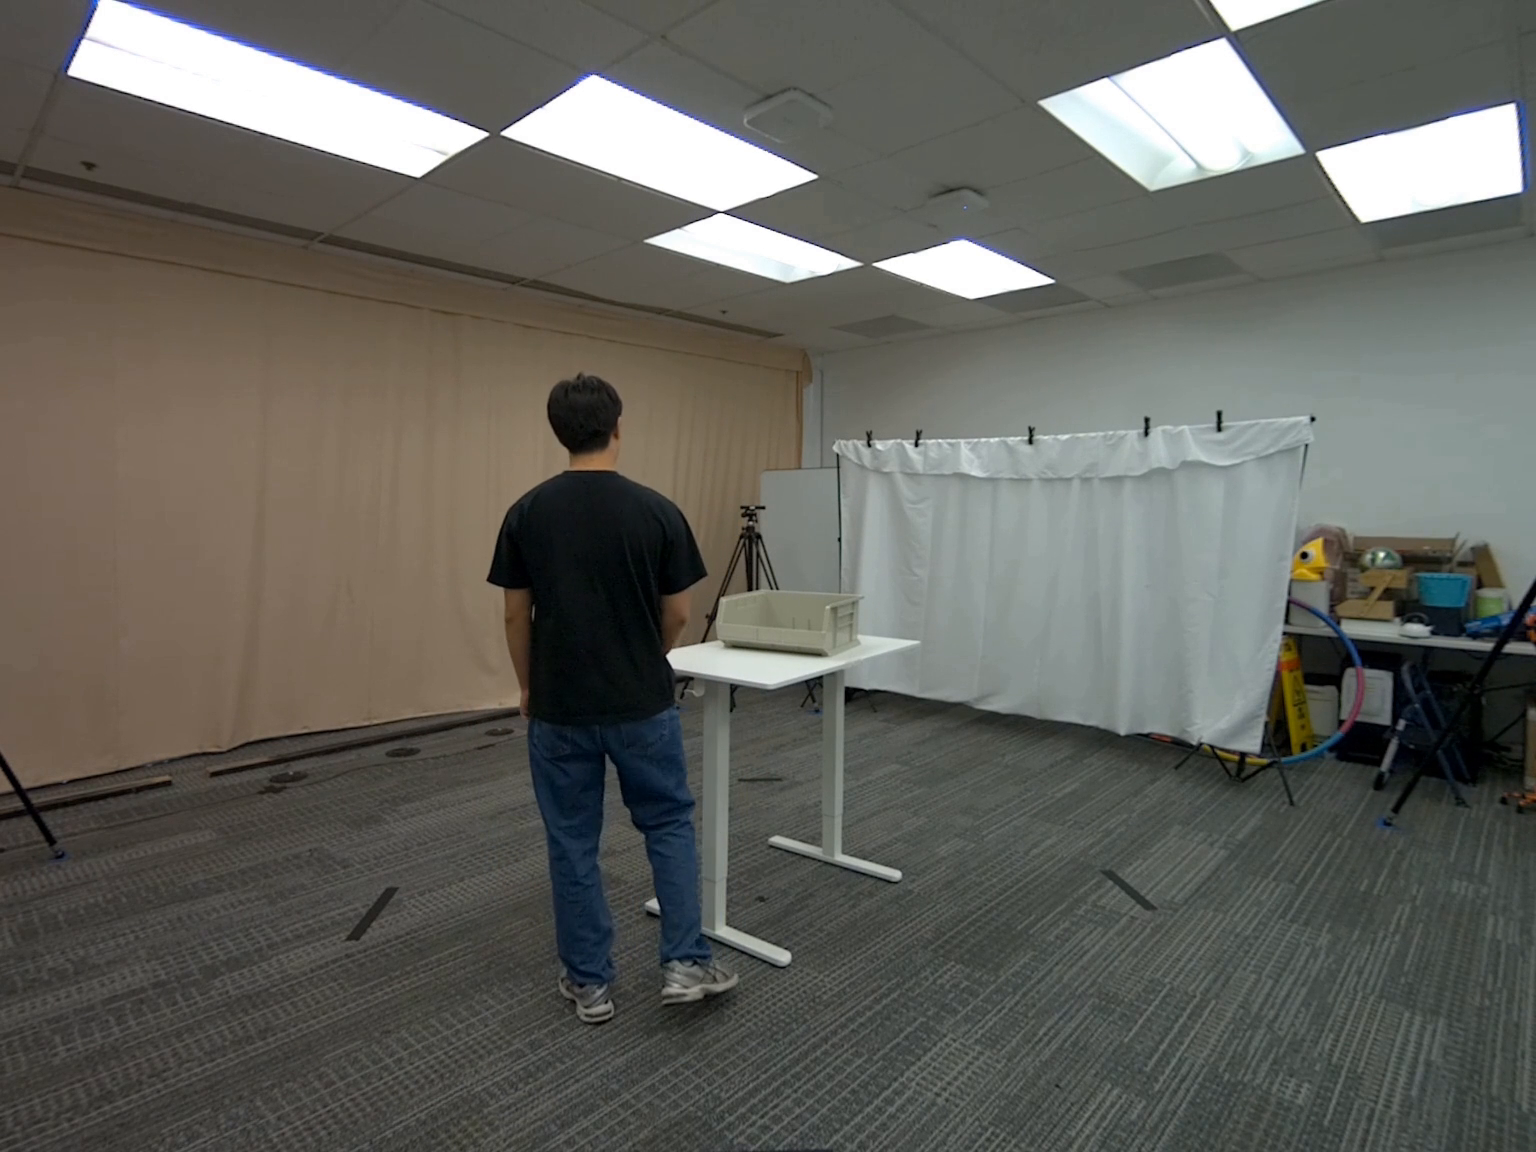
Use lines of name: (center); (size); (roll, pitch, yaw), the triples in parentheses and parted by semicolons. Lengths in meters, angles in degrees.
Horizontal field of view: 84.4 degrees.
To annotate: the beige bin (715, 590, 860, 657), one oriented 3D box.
beige bin: (0.089, 0.170, 3.049); (0.434, 0.189, 0.368); (2, 4, 28)
